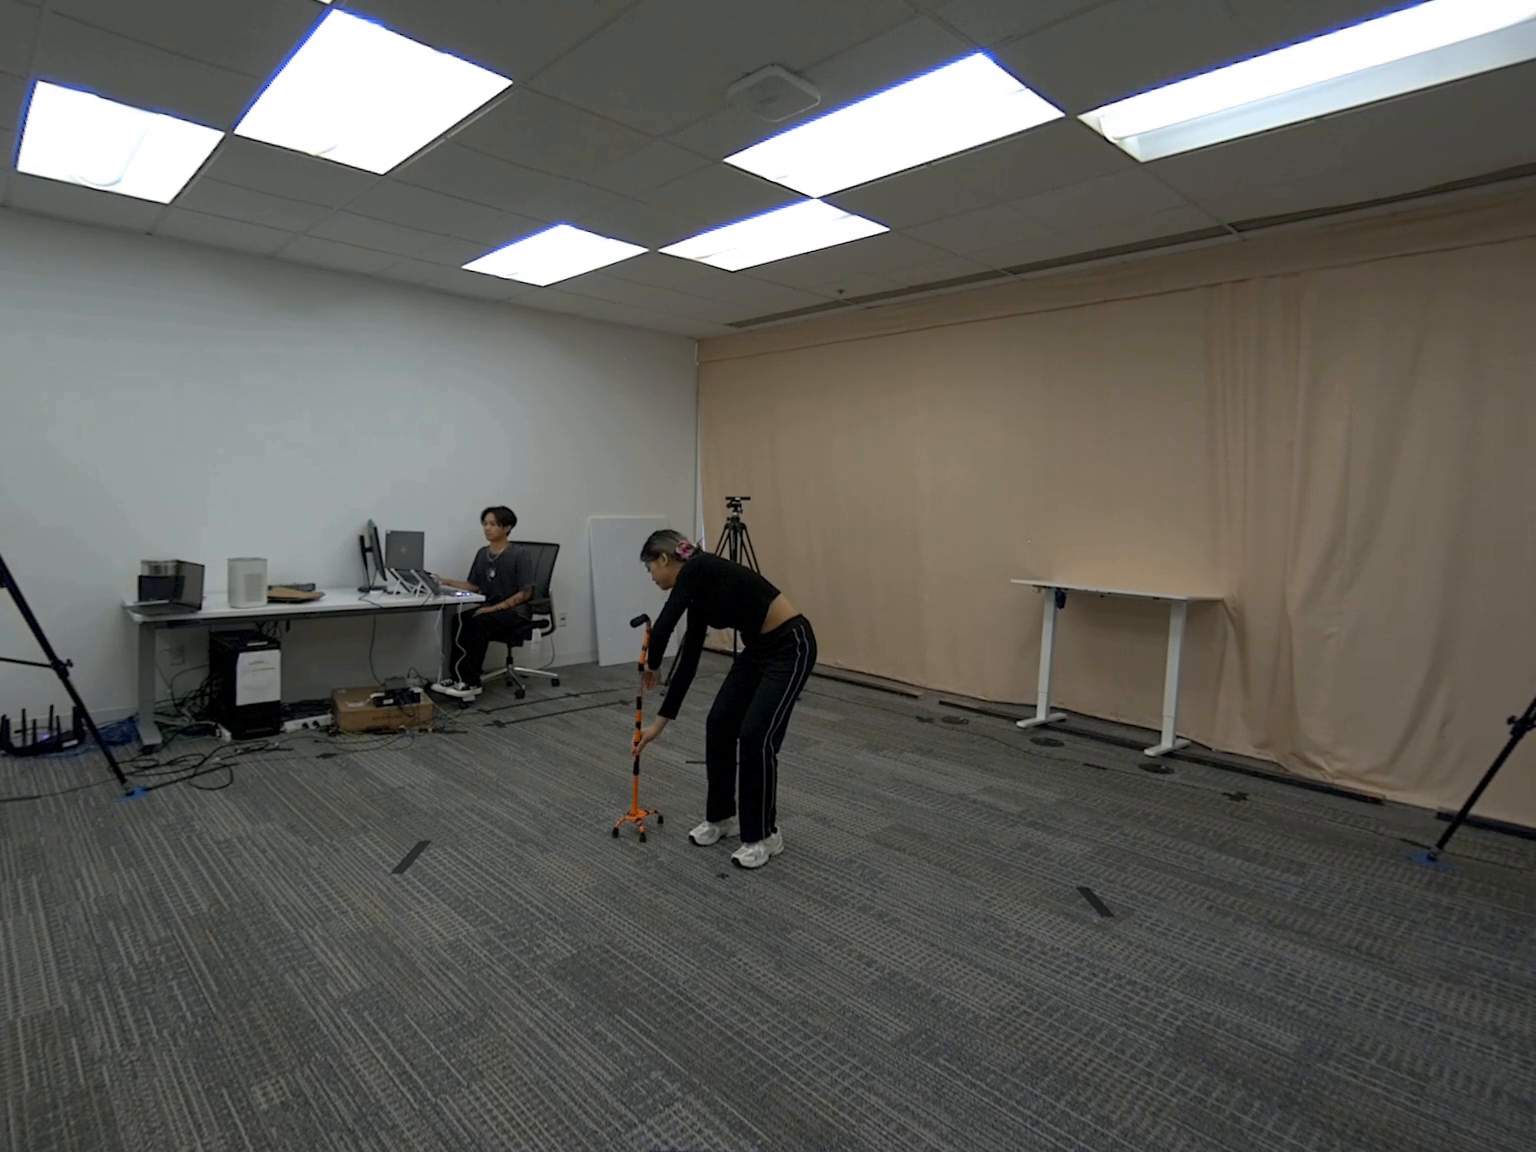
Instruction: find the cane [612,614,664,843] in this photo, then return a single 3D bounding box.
[{"bbox_3d":[-0.515,0.600,3.435,0.154,0.902,0.205,6,9,15],"label":"cane"}]
